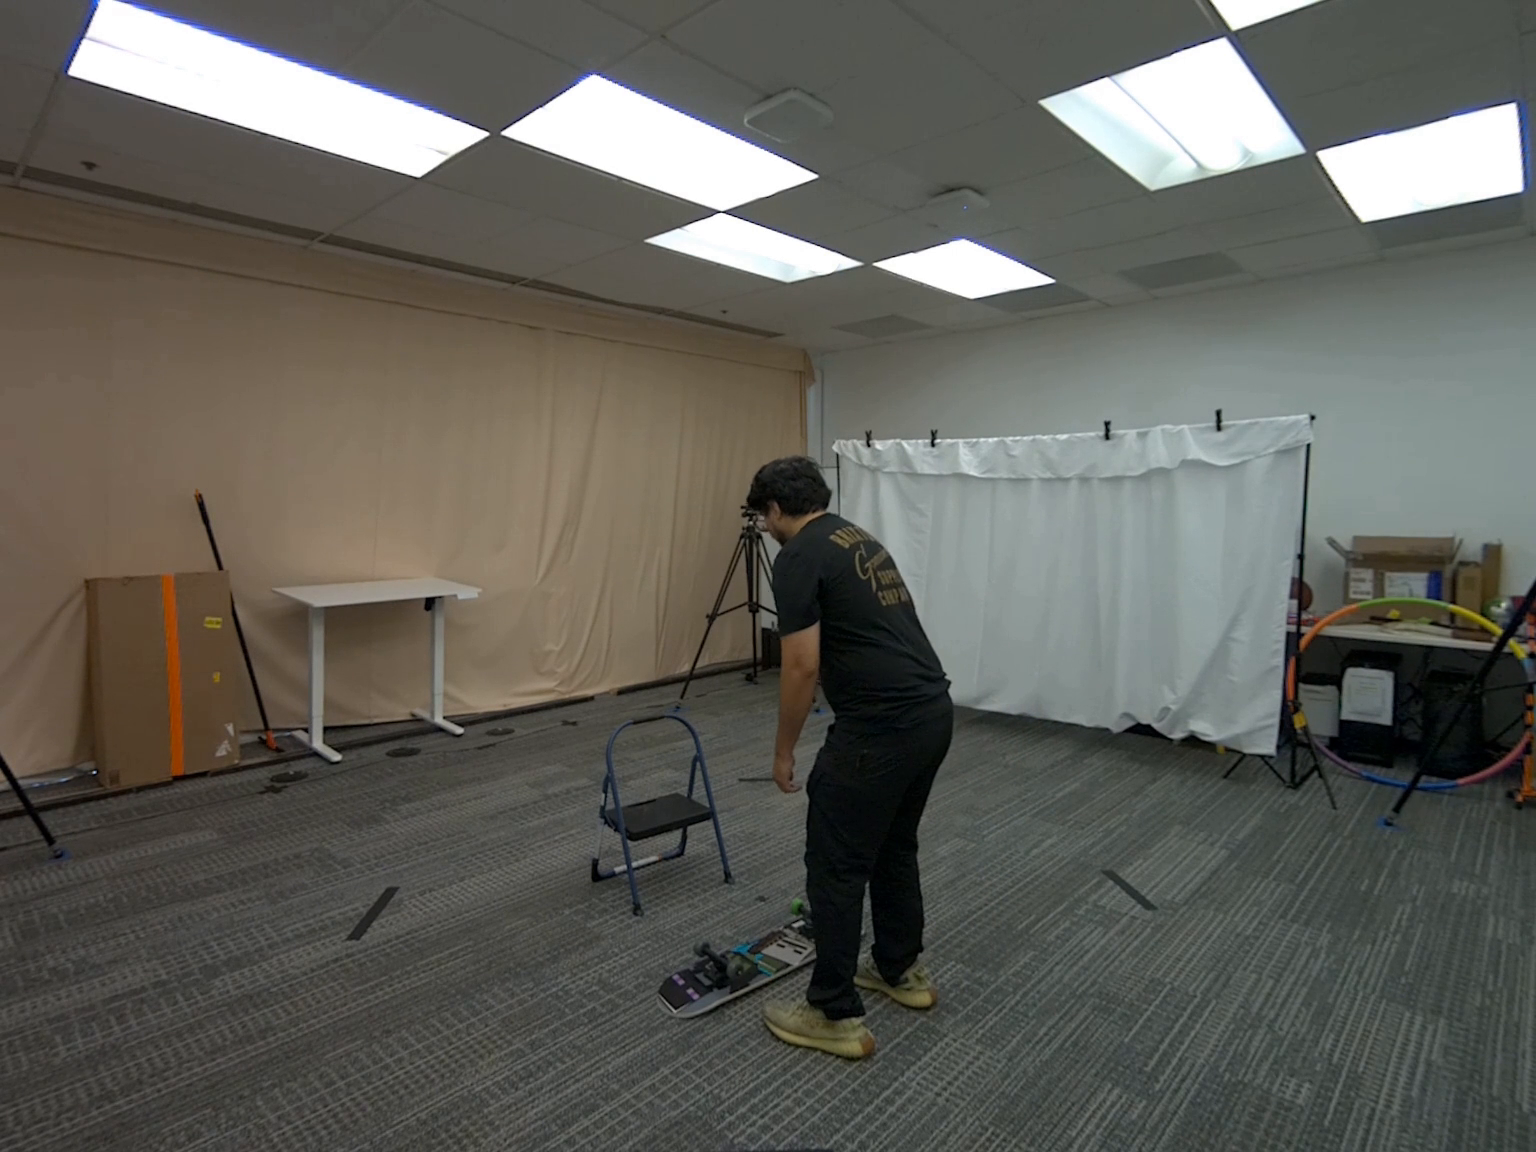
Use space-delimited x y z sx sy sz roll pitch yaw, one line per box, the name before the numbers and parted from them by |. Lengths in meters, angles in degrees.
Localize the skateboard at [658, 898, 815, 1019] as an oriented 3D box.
skateboard | 0.006 1.132 2.559 0.761 0.110 0.200 -4 6 -41
